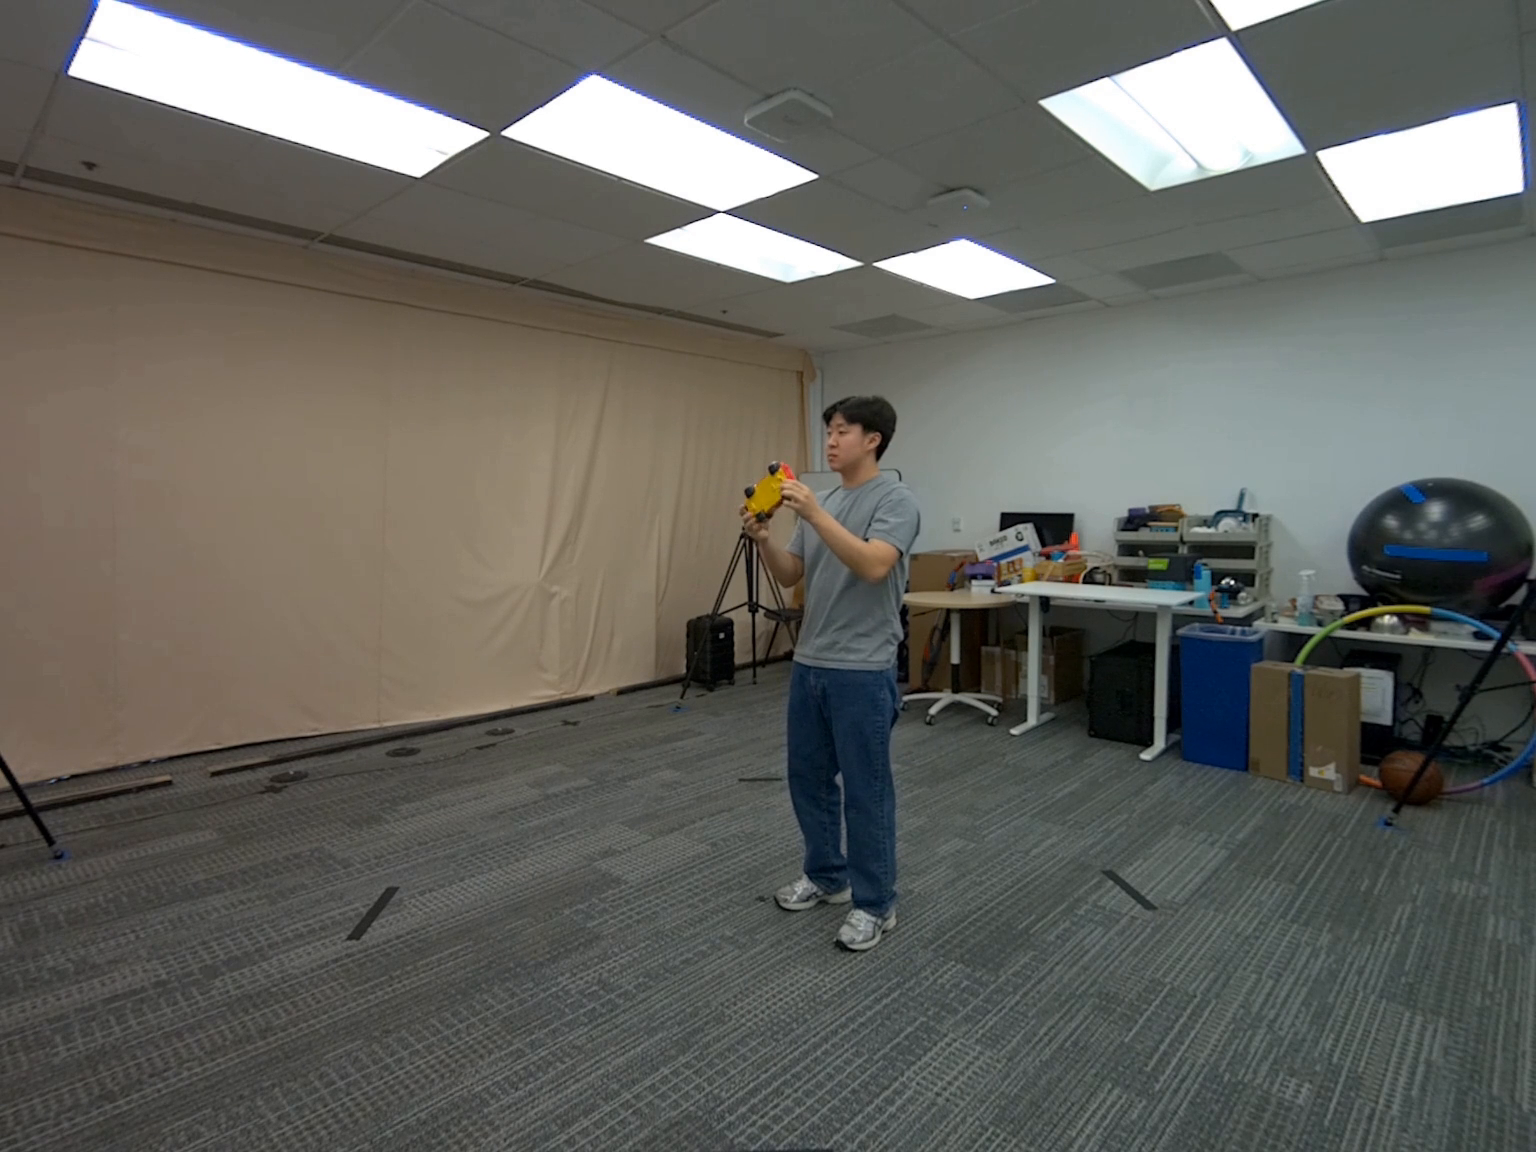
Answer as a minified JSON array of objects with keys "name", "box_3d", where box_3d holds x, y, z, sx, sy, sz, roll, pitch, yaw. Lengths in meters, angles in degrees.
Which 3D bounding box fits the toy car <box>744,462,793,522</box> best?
[{"name":"toy car","box_3d":[0.005,-0.244,2.593,0.081,0.132,0.255,-16,-16,-25]}]
